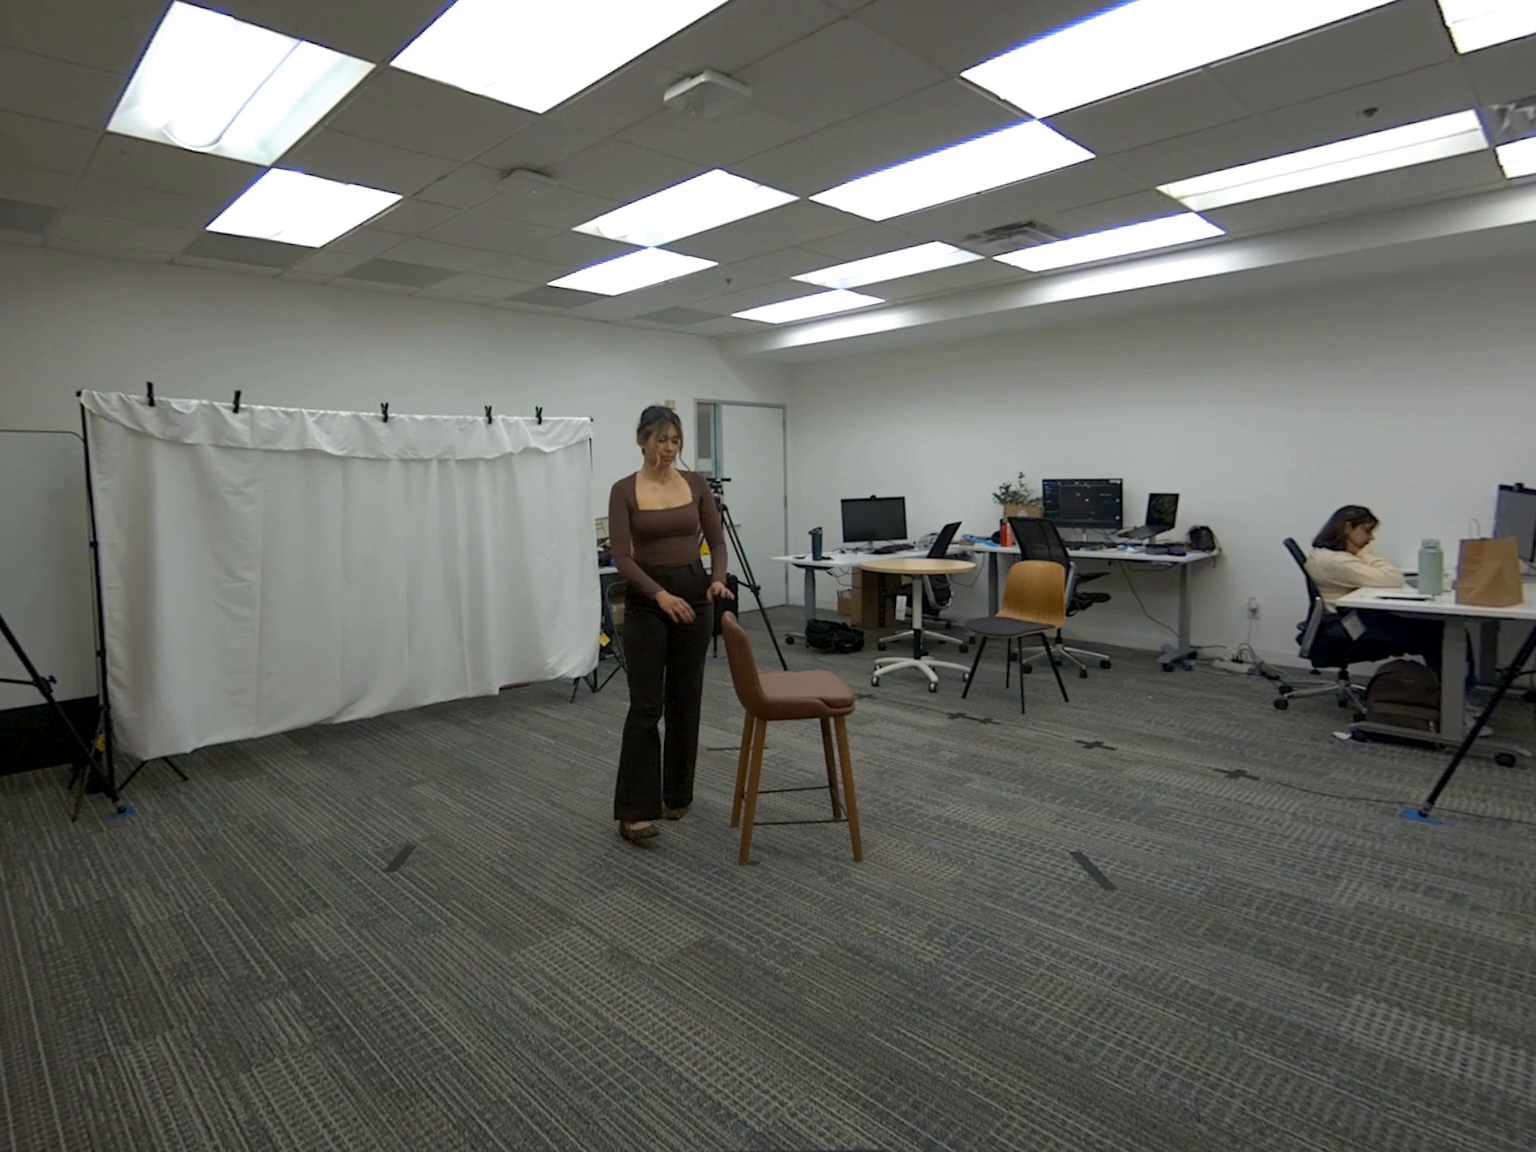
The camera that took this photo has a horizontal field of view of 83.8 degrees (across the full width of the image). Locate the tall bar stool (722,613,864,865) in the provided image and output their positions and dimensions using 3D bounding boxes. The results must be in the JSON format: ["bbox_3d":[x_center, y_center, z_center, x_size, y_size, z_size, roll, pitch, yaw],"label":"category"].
[{"bbox_3d":[0.082,0.587,3.259,0.465,0.887,0.461,-3,4,-6],"label":"tall bar stool"}]
